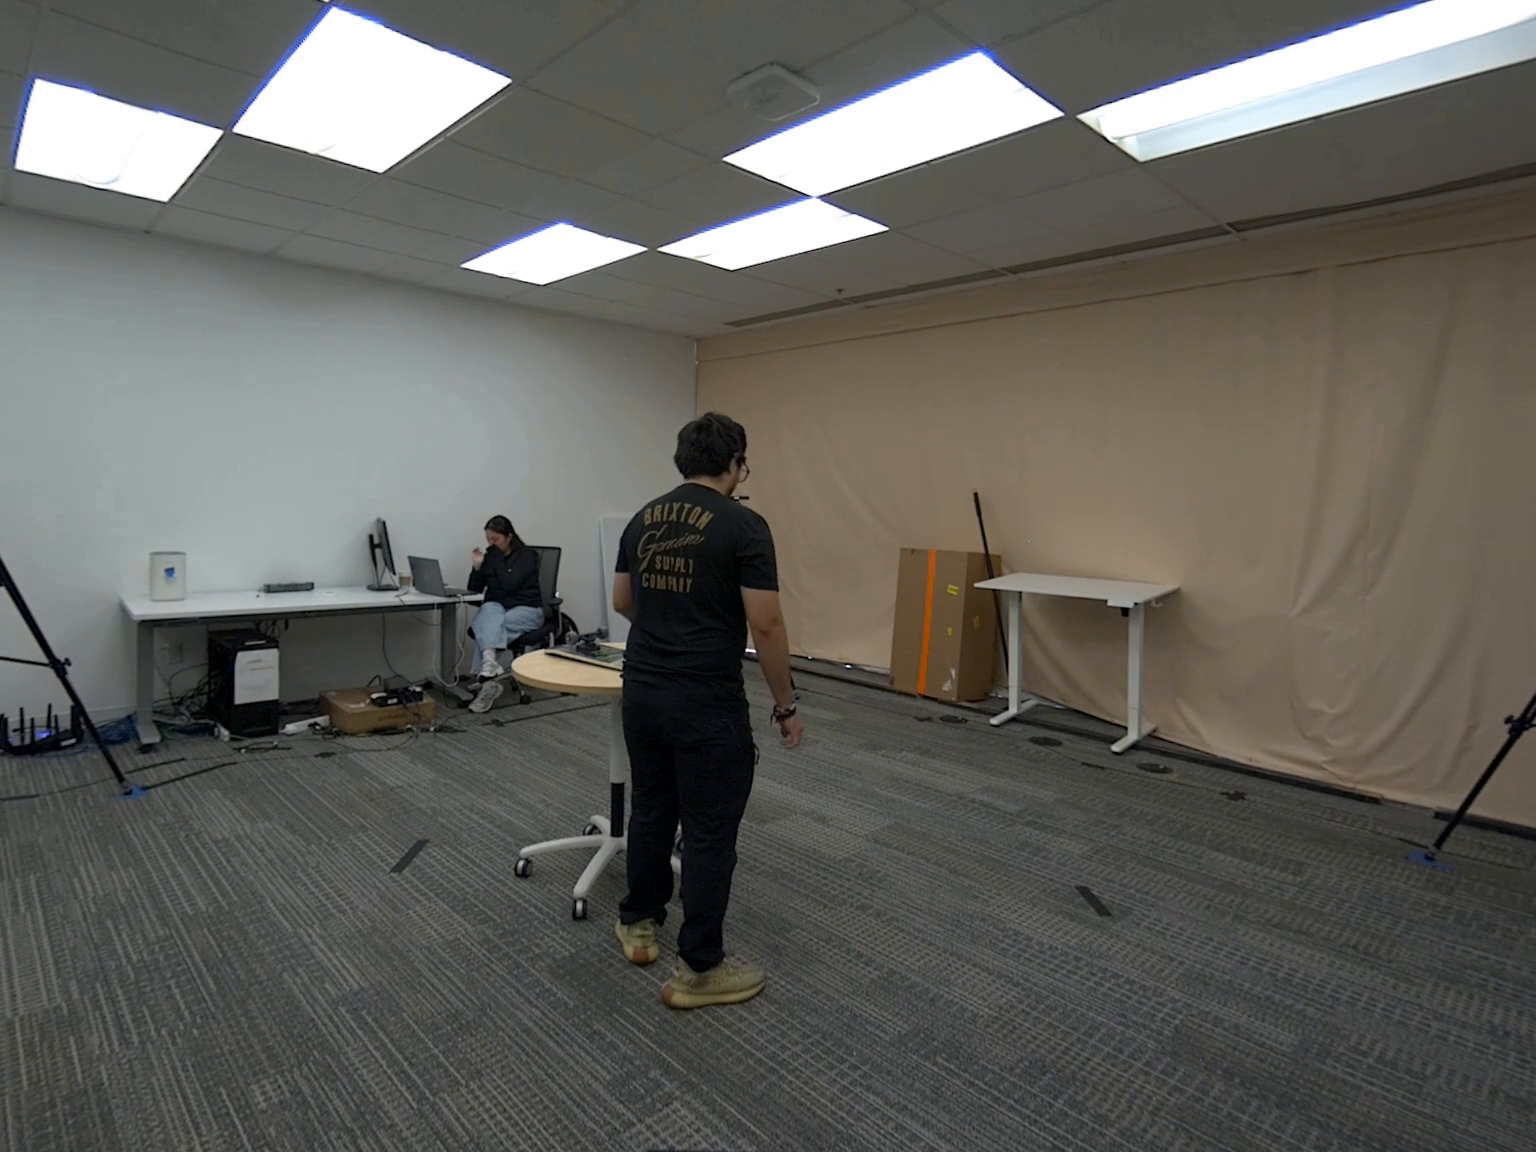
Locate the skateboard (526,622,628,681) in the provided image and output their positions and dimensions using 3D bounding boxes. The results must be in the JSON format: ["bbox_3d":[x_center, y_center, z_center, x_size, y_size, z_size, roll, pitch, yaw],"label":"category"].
[{"bbox_3d":[-0.537,0.279,3.008,0.806,0.110,0.189,7,4,39],"label":"skateboard"}]
